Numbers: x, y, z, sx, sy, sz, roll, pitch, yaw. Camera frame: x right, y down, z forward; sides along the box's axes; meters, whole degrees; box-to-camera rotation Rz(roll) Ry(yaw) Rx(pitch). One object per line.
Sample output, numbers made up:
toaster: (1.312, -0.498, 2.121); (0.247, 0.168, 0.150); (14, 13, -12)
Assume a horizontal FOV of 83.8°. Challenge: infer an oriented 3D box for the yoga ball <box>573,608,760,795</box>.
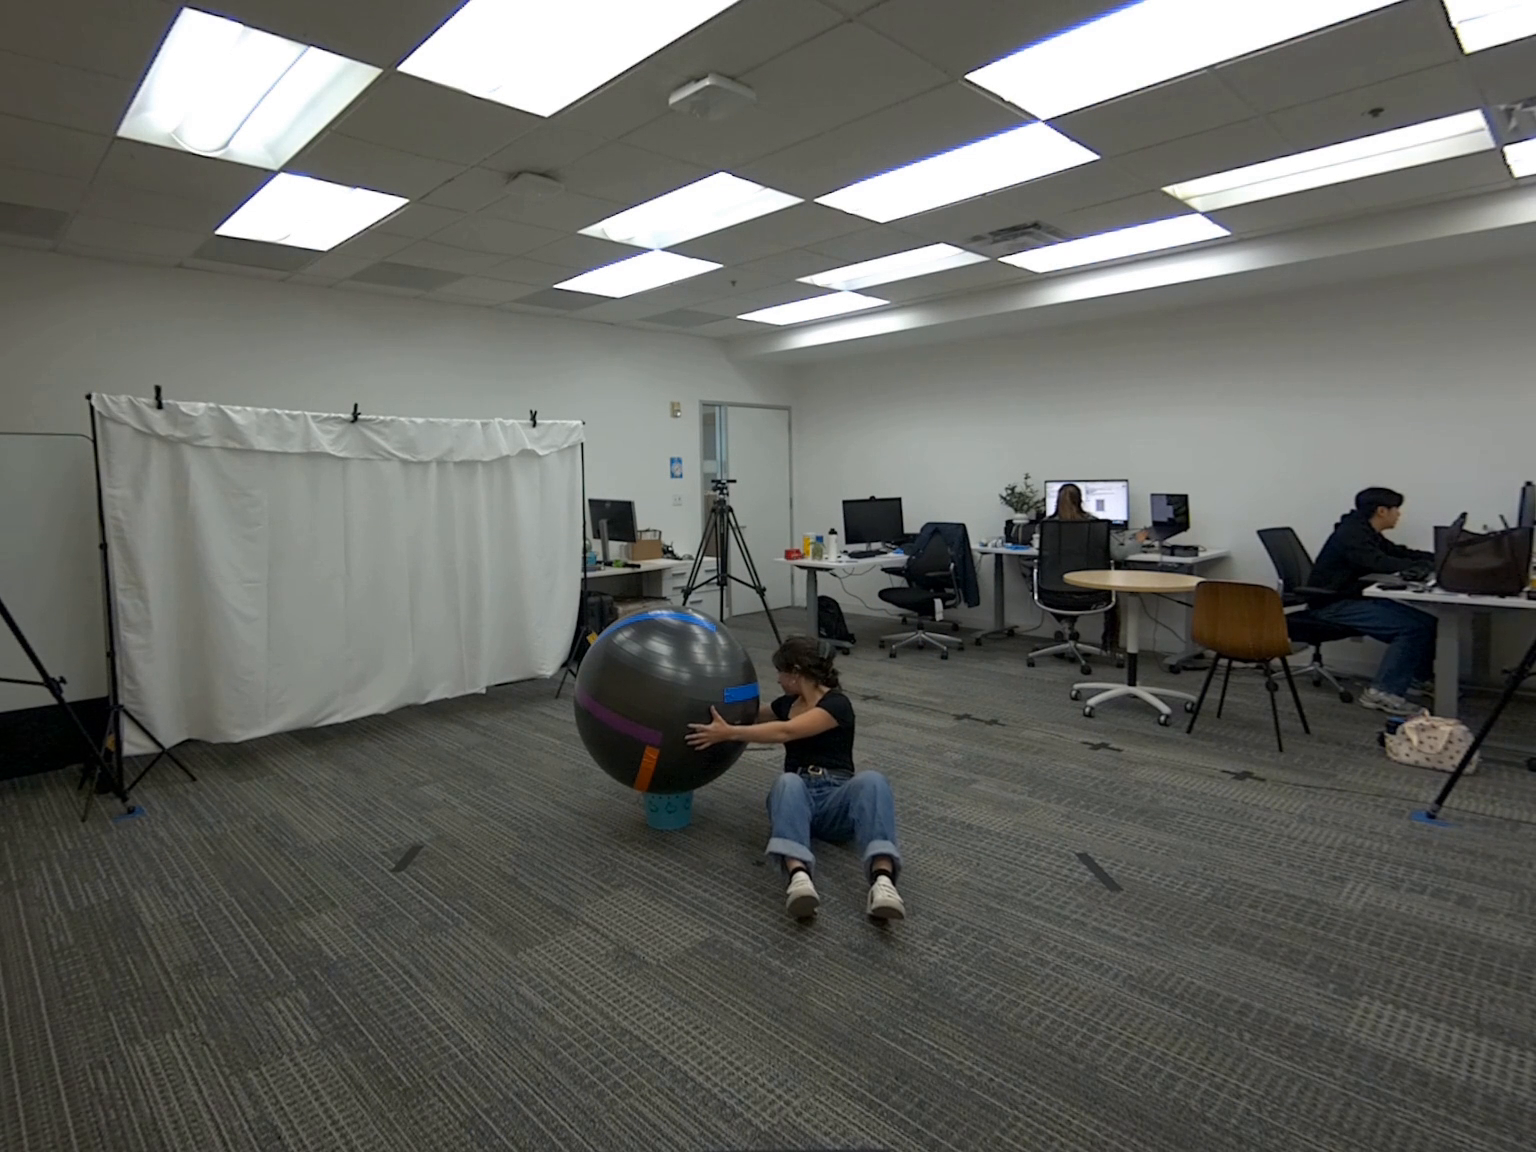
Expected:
yoga ball: (-0.417, 0.501, 3.497); (0.757, 0.755, 0.762); (-1, 5, -2)
